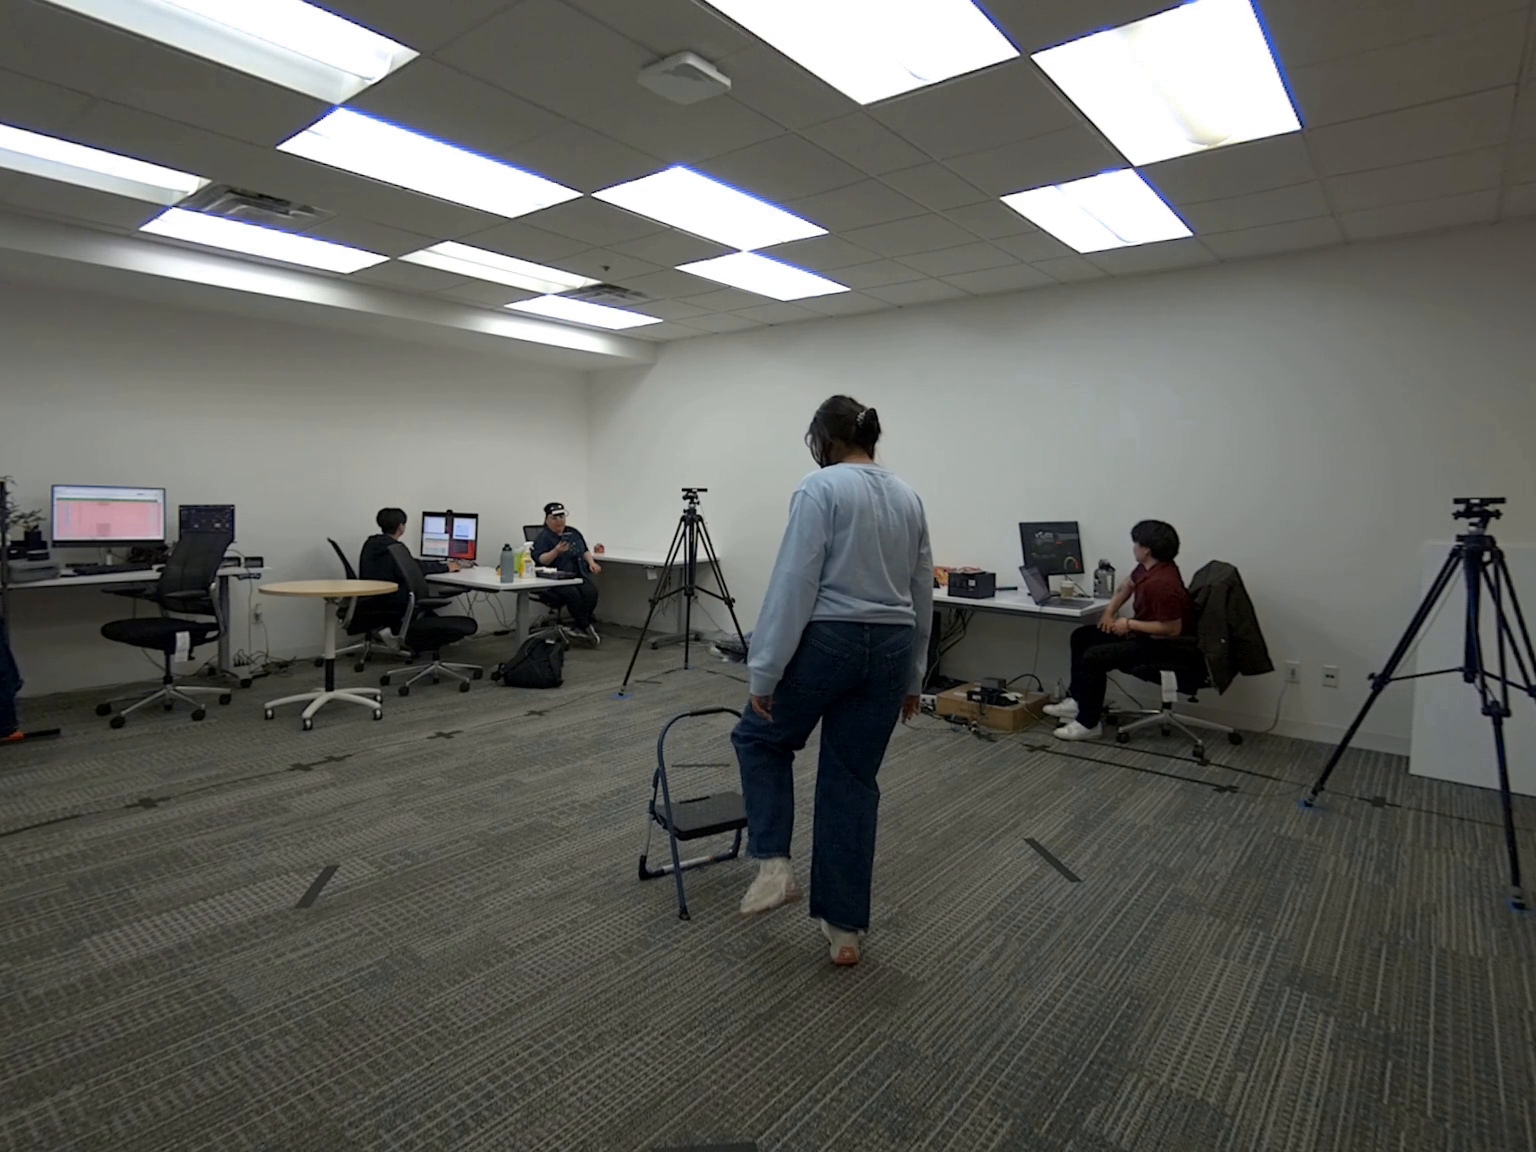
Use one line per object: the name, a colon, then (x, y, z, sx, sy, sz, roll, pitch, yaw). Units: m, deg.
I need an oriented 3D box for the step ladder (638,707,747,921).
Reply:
step ladder: (-0.200, 0.781, 2.974, 0.418, 0.604, 0.360, -1, 4, -34)
